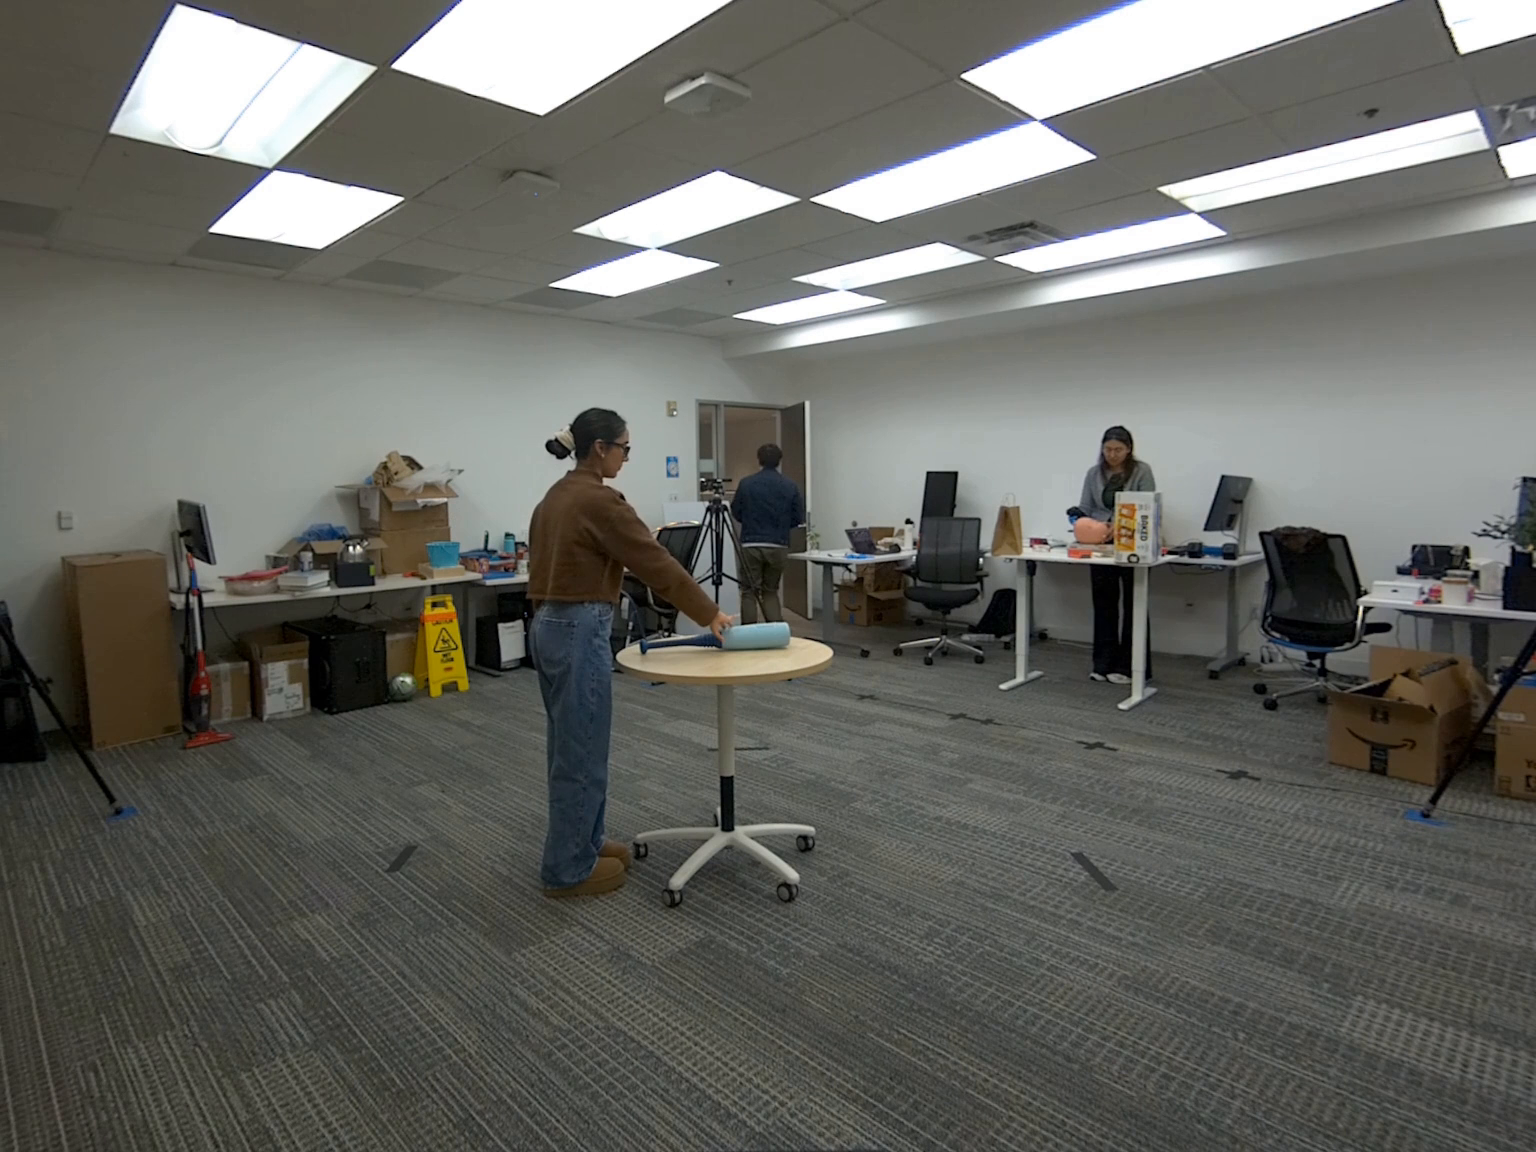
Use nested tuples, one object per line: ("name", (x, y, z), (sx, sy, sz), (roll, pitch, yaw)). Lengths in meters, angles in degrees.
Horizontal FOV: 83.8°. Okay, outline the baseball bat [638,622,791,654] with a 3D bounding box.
("baseball bat", (-0.194, 0.233, 3.068), (0.540, 0.089, 0.090), (-5, 5, -5))
